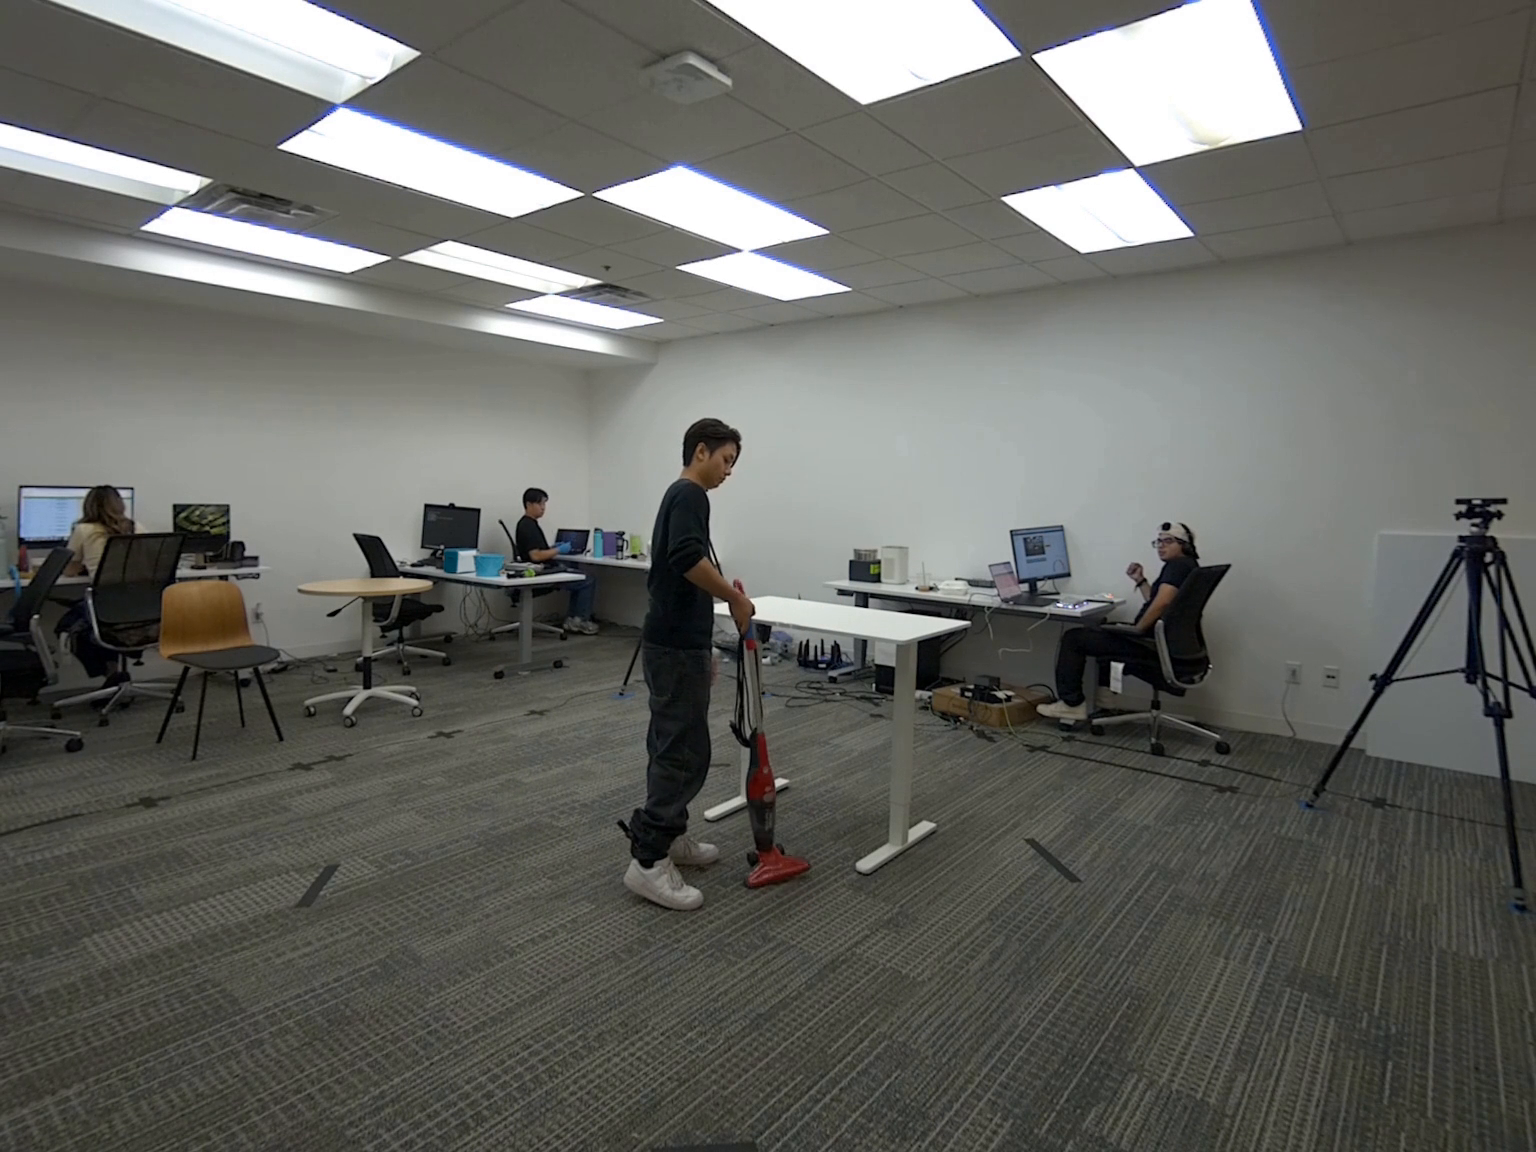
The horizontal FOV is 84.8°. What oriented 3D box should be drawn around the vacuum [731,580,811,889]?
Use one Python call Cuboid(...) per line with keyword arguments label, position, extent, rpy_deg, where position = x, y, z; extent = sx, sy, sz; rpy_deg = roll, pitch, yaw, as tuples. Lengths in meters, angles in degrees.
Cuboid(label="vacuum", position=(-0.047, 0.541, 3.025), extent=(0.248, 1.045, 0.147), rpy_deg=(-5, 3, -20))
